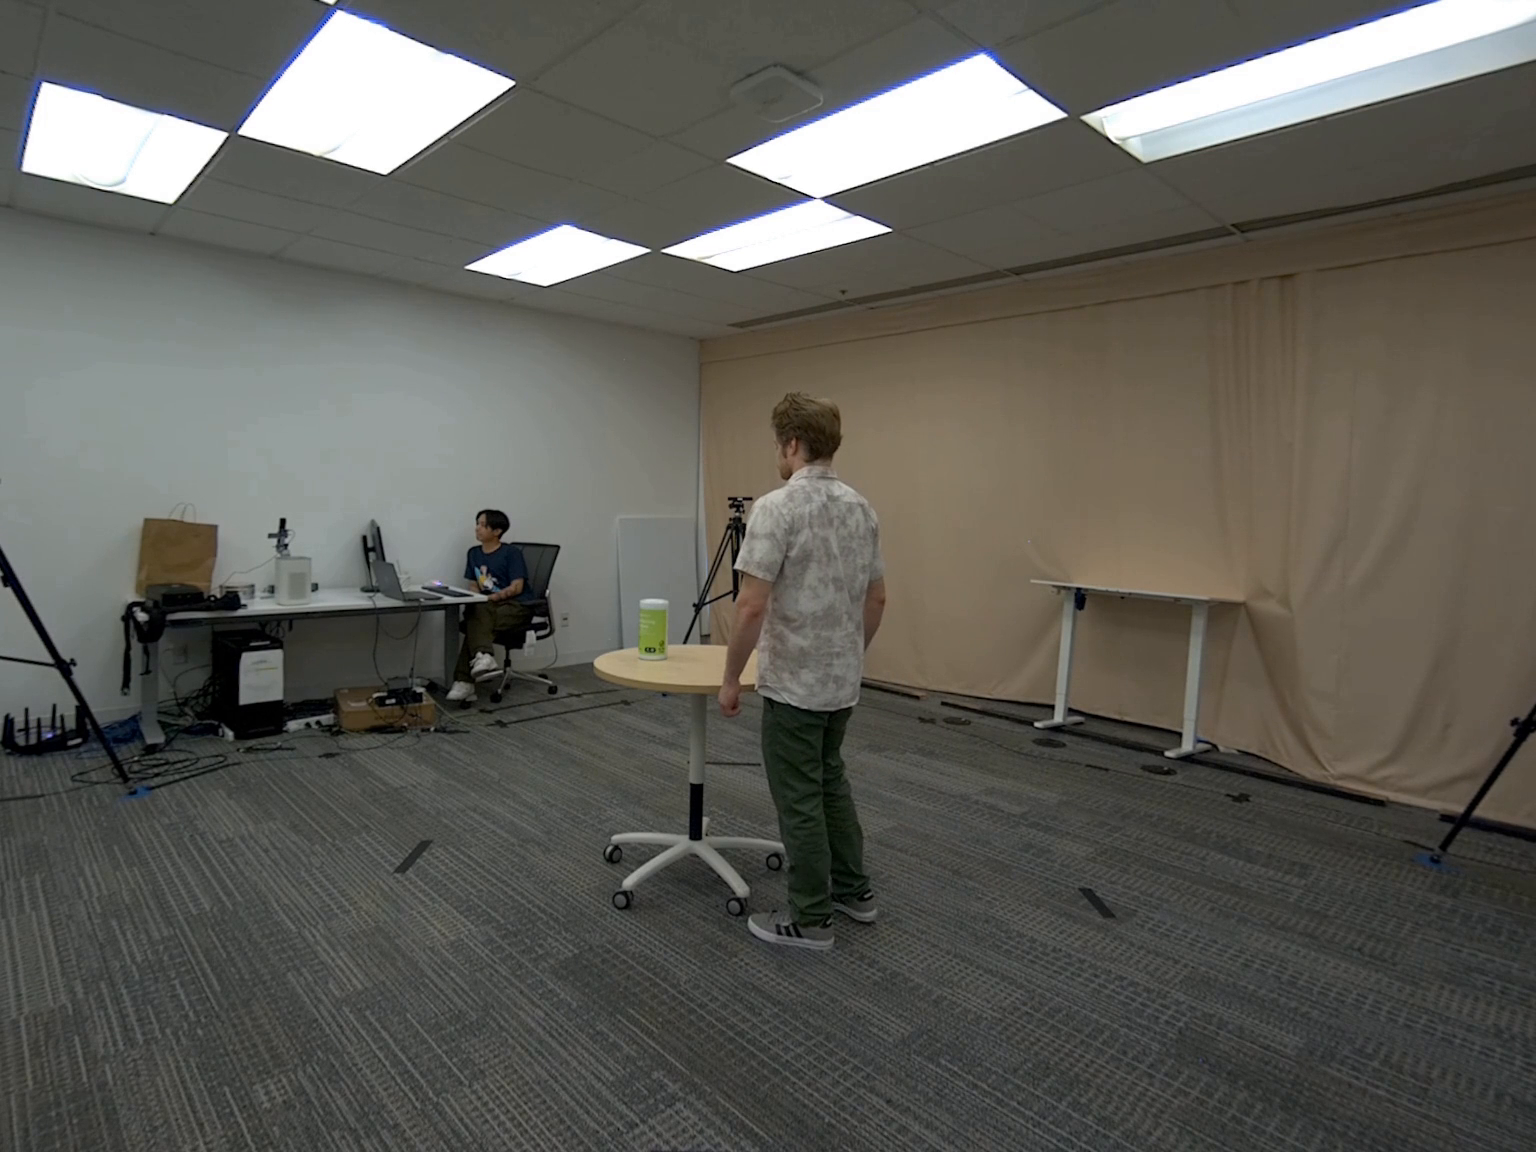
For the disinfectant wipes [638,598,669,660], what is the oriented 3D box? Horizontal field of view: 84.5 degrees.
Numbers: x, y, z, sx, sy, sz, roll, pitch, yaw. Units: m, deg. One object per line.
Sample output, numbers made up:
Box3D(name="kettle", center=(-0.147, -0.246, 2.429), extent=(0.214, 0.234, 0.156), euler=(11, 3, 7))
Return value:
Box3D(name="disinfectant wipes", center=(-0.430, 0.199, 3.121), extent=(0.118, 0.217, 0.118), euler=(2, 2, -1))
